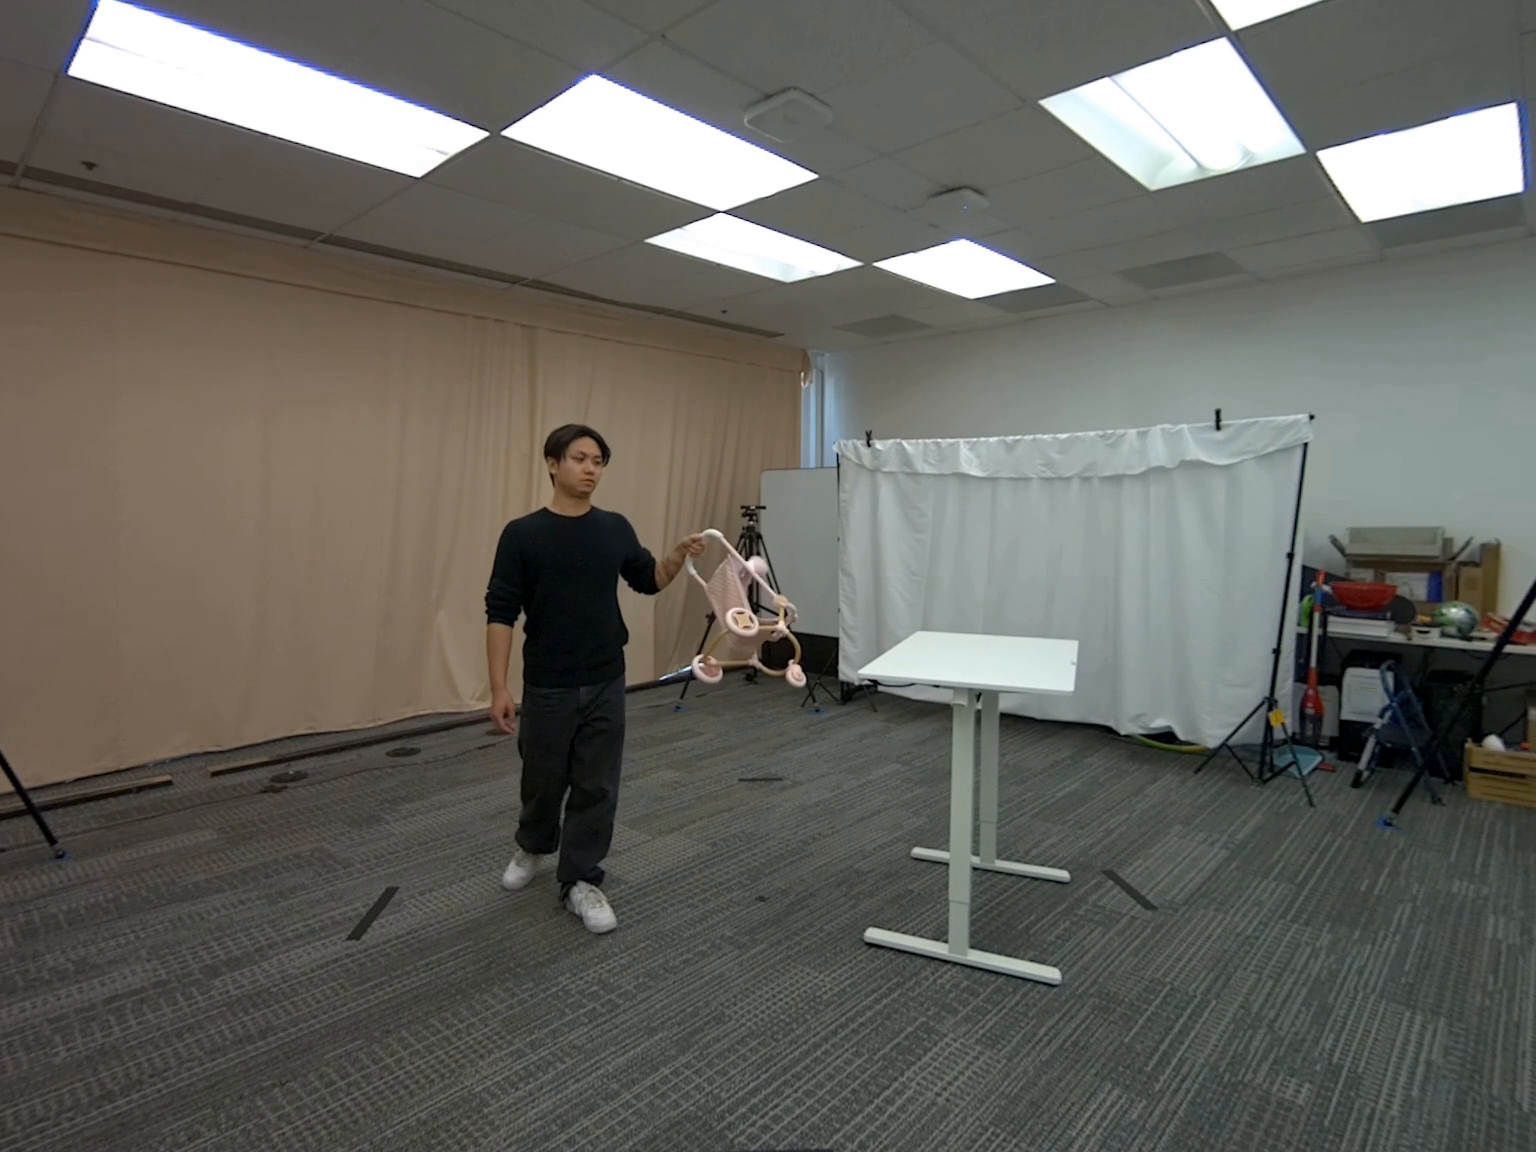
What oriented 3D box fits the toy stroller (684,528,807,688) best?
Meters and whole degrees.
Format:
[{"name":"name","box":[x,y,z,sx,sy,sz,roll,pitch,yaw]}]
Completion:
[{"name":"toy stroller","box":[-0.062,0.124,2.779,0.333,0.548,0.281,10,-46,-23]}]
